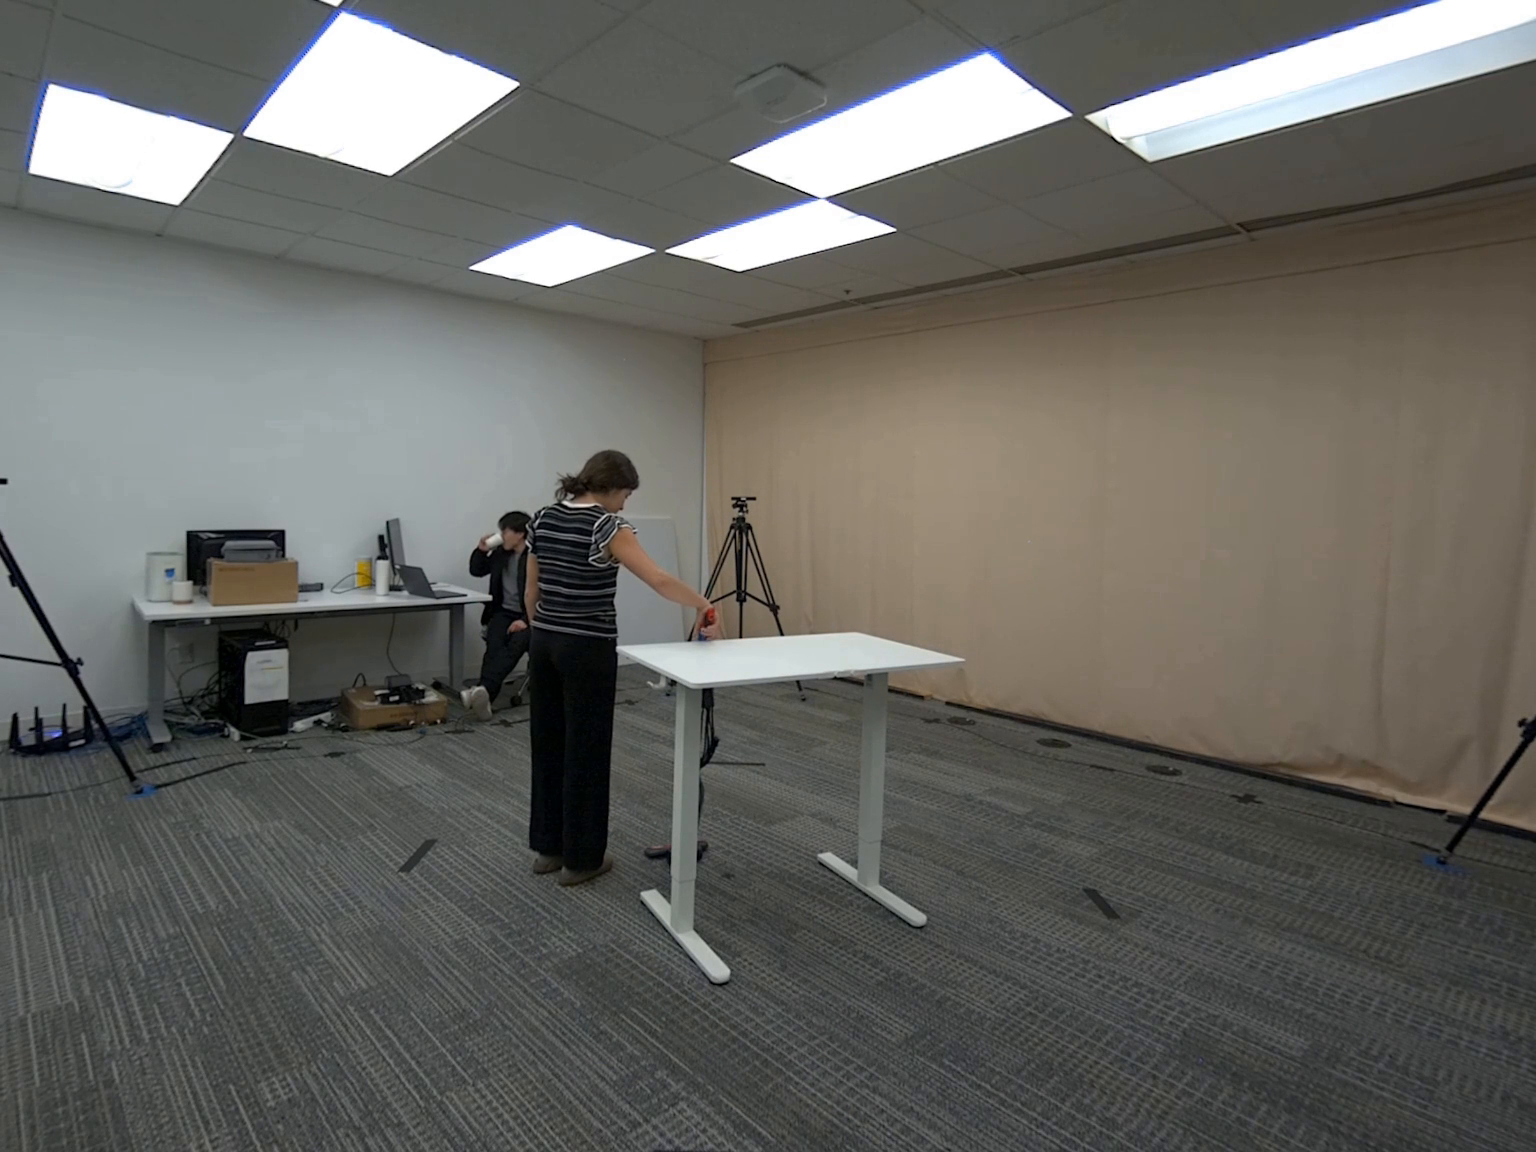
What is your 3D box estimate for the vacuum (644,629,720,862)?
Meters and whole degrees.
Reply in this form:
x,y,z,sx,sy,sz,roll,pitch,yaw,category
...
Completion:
x,y,z,sx,sy,sz,roll,pitch,yaw,category
-0.293,0.618,3.105,0.248,1.037,0.148,-2,21,-24,vacuum
